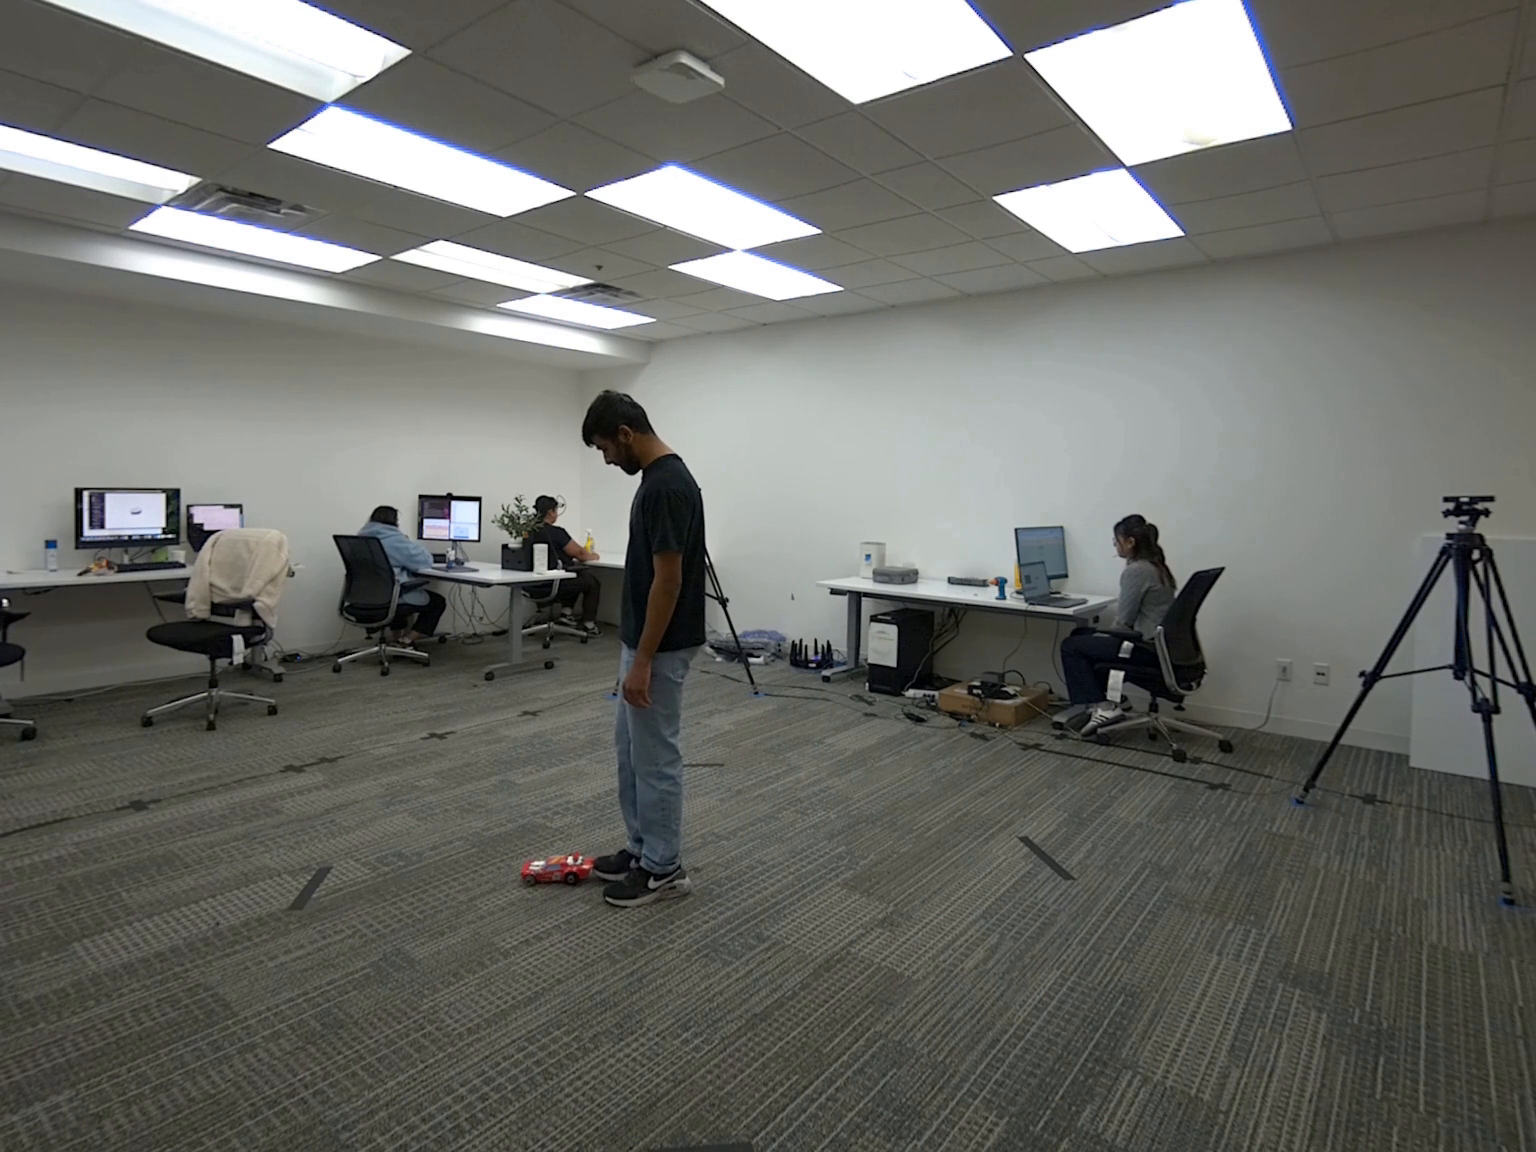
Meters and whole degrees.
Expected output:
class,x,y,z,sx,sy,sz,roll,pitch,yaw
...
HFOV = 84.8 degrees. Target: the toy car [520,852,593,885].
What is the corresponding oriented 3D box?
class,x,y,z,sx,sy,sz,roll,pitch,yaw
toy car,-0.750,1.036,3.014,0.254,0.083,0.131,-12,6,-2
